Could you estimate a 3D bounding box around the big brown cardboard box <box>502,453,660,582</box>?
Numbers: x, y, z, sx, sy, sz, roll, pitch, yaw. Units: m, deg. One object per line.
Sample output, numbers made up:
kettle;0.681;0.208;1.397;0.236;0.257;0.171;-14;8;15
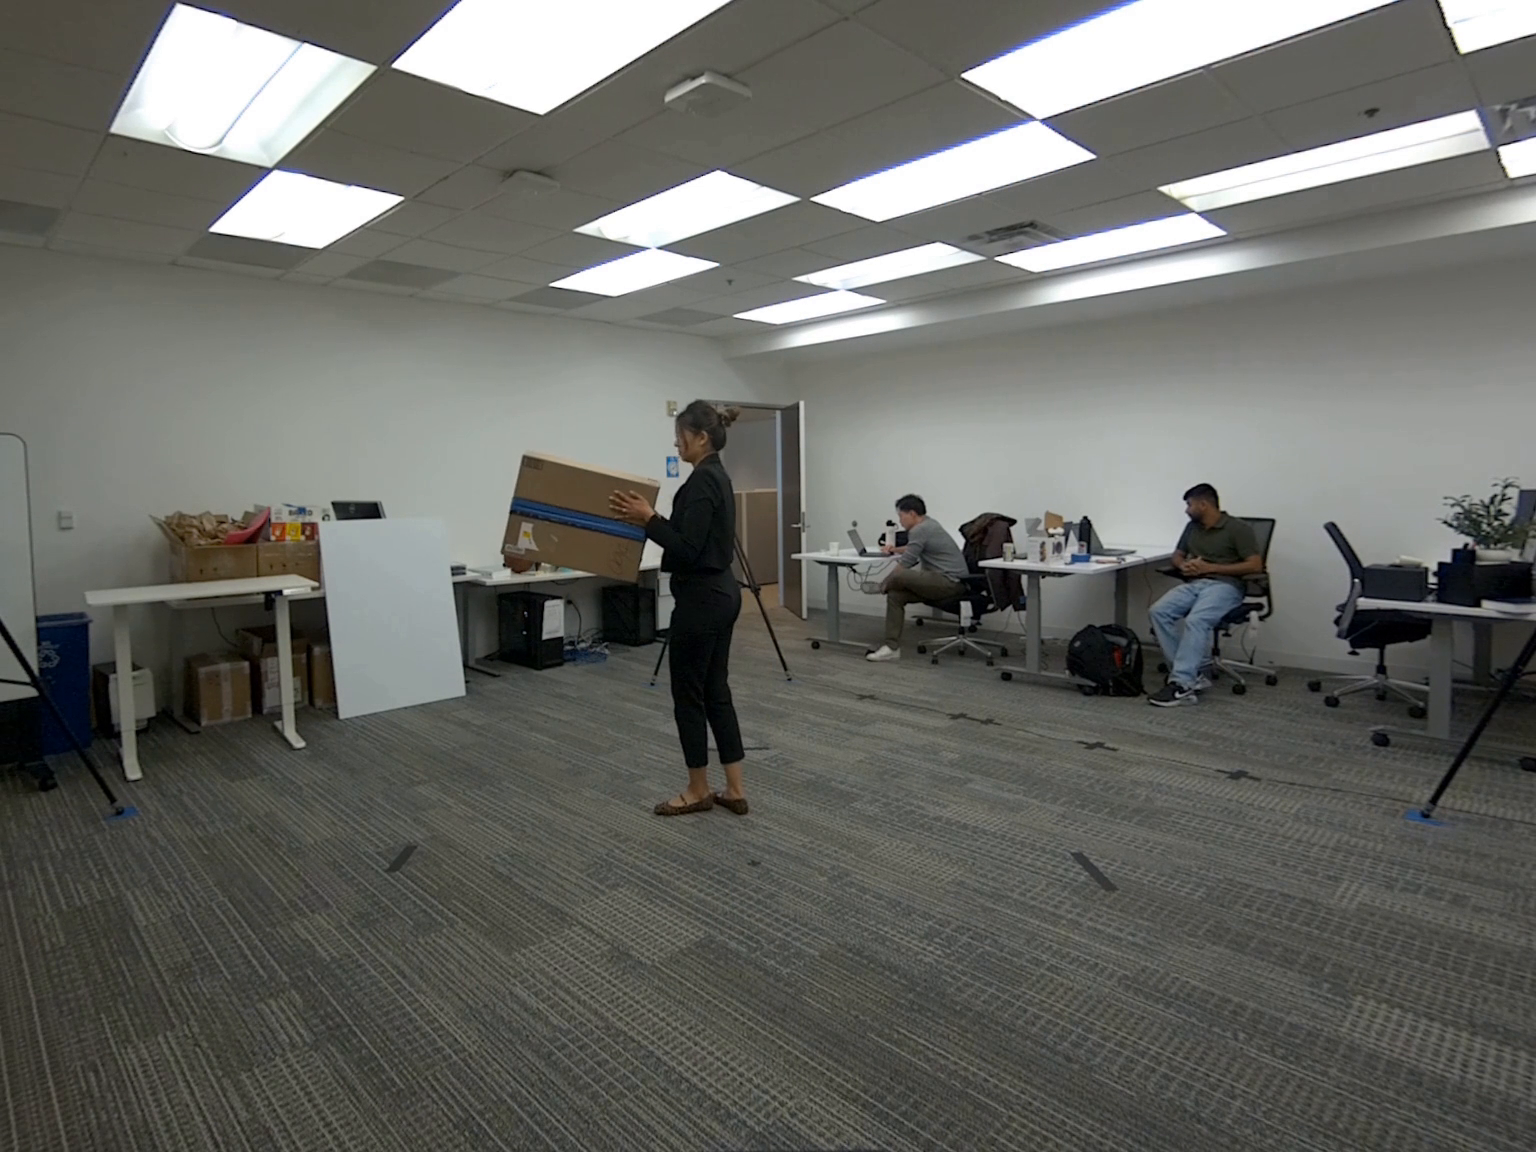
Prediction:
big brown cardboard box;-0.777;-0.255;3.567;0.583;0.415;0.237;12;10;-8
